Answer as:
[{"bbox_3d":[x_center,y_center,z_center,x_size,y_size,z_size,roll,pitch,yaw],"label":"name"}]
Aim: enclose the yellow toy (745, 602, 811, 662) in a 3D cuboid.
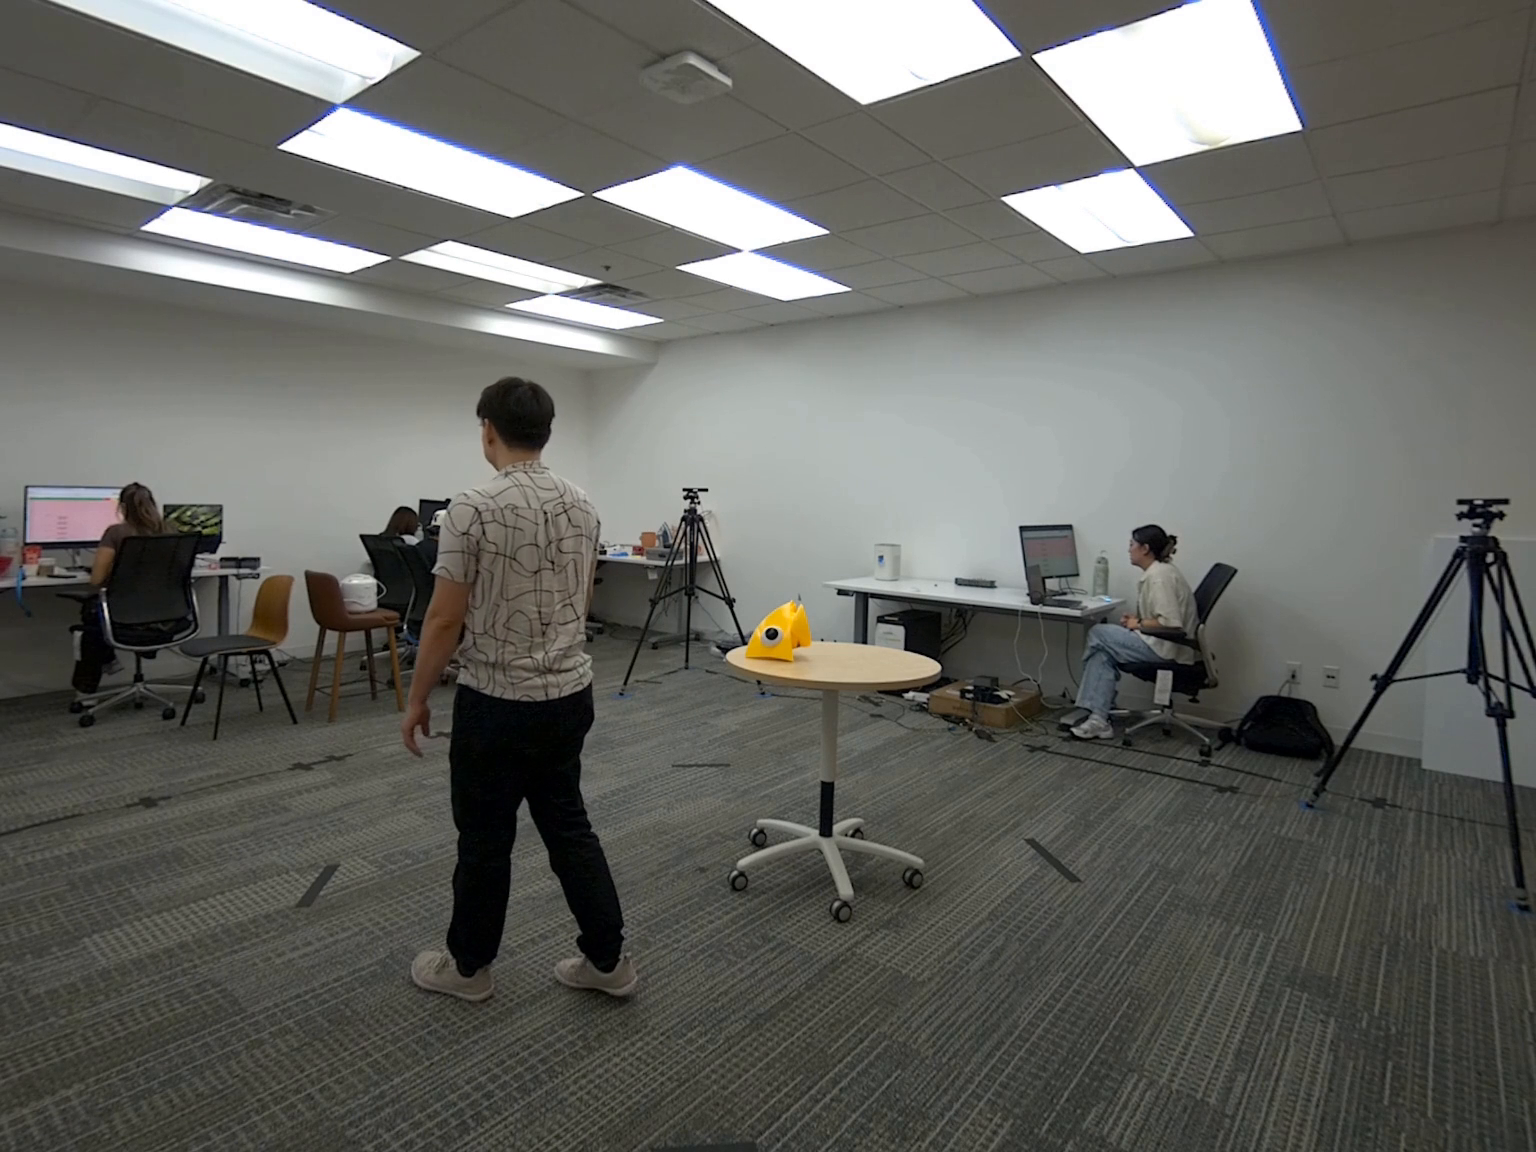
[{"bbox_3d":[0.003,0.204,3.073,0.229,0.192,0.208,-12,7,-10],"label":"yellow toy"}]
